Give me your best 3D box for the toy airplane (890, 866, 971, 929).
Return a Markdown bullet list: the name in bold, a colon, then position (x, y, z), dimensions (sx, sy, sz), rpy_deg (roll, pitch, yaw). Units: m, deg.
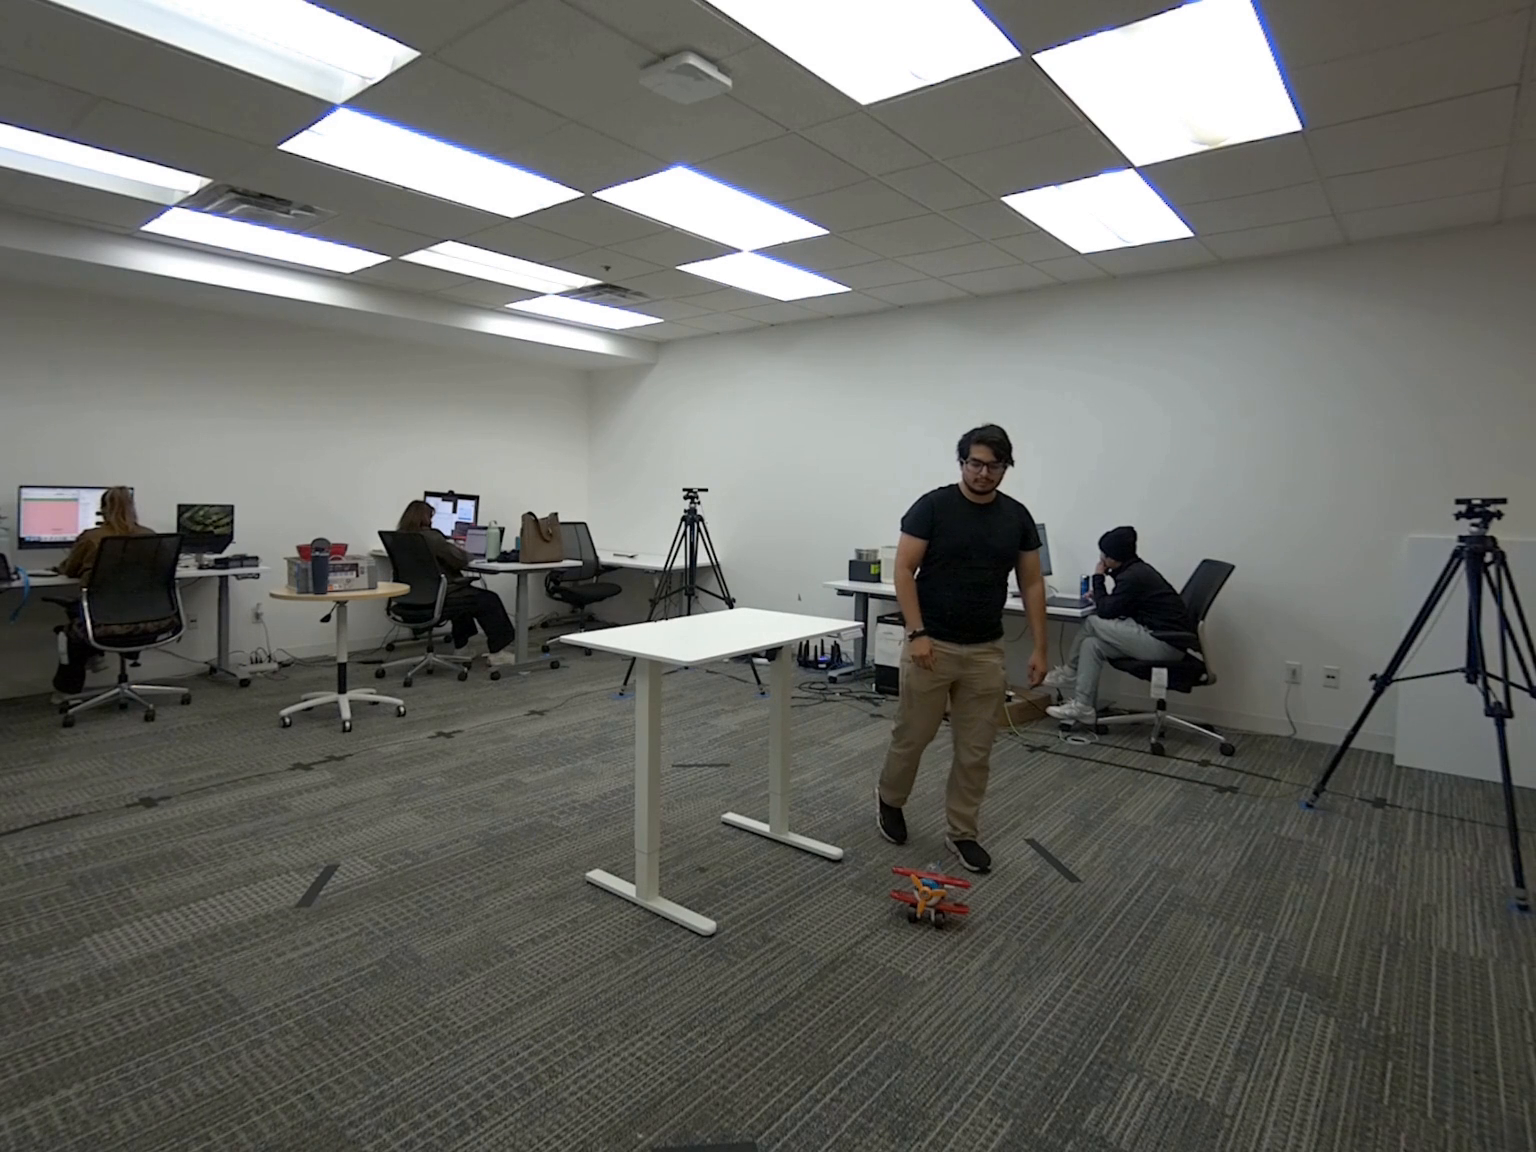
- **toy airplane**: position (0.520, 1.042, 2.826), dimensions (0.250, 0.156, 0.262), rpy_deg (2, 6, -6)
